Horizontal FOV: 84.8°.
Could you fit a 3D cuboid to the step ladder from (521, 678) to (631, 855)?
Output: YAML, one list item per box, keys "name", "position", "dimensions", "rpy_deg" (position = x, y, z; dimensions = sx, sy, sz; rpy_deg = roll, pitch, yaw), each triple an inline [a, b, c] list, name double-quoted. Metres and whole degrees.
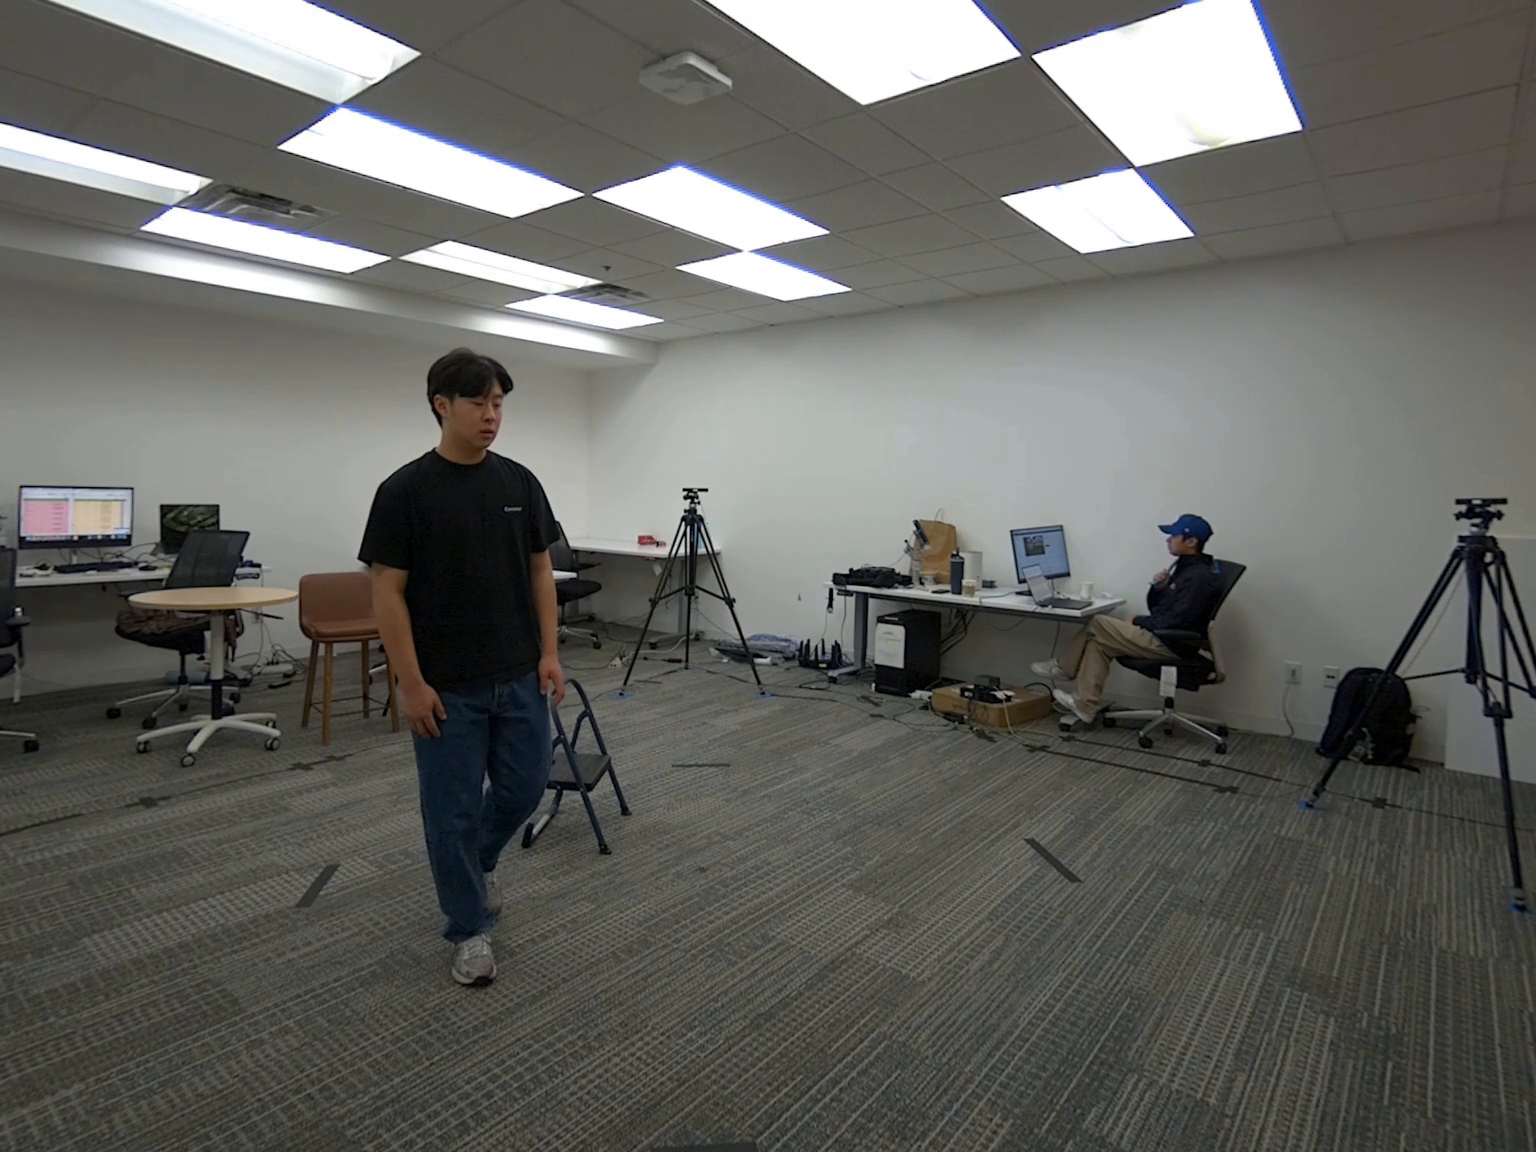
- name: "step ladder"
  position: [-0.770, 0.727, 3.434]
  dimensions: [0.351, 0.605, 0.430]
  rpy_deg: [2, 3, 2]
